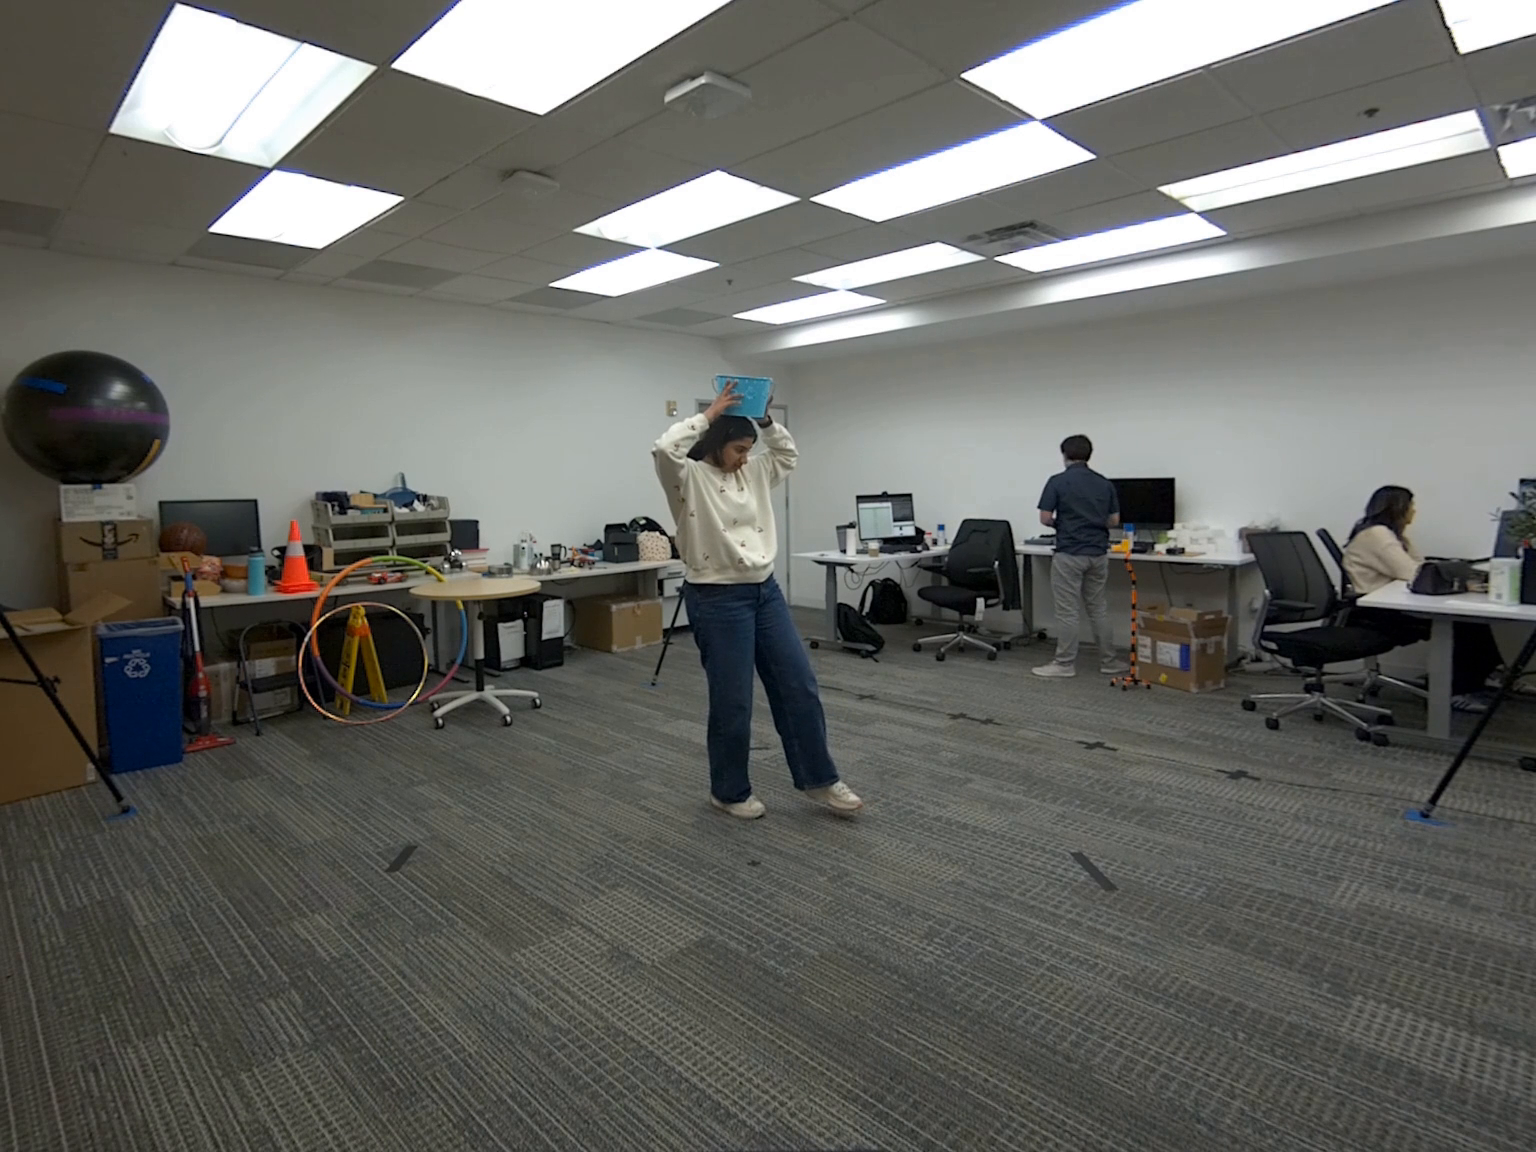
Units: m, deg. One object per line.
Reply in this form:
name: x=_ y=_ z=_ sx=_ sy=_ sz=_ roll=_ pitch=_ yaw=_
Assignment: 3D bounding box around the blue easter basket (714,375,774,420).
blue easter basket: x=-0.098 y=-0.720 z=3.420 sx=0.243 sy=0.154 sz=0.246 roll=3 pitch=11 yaw=-2
